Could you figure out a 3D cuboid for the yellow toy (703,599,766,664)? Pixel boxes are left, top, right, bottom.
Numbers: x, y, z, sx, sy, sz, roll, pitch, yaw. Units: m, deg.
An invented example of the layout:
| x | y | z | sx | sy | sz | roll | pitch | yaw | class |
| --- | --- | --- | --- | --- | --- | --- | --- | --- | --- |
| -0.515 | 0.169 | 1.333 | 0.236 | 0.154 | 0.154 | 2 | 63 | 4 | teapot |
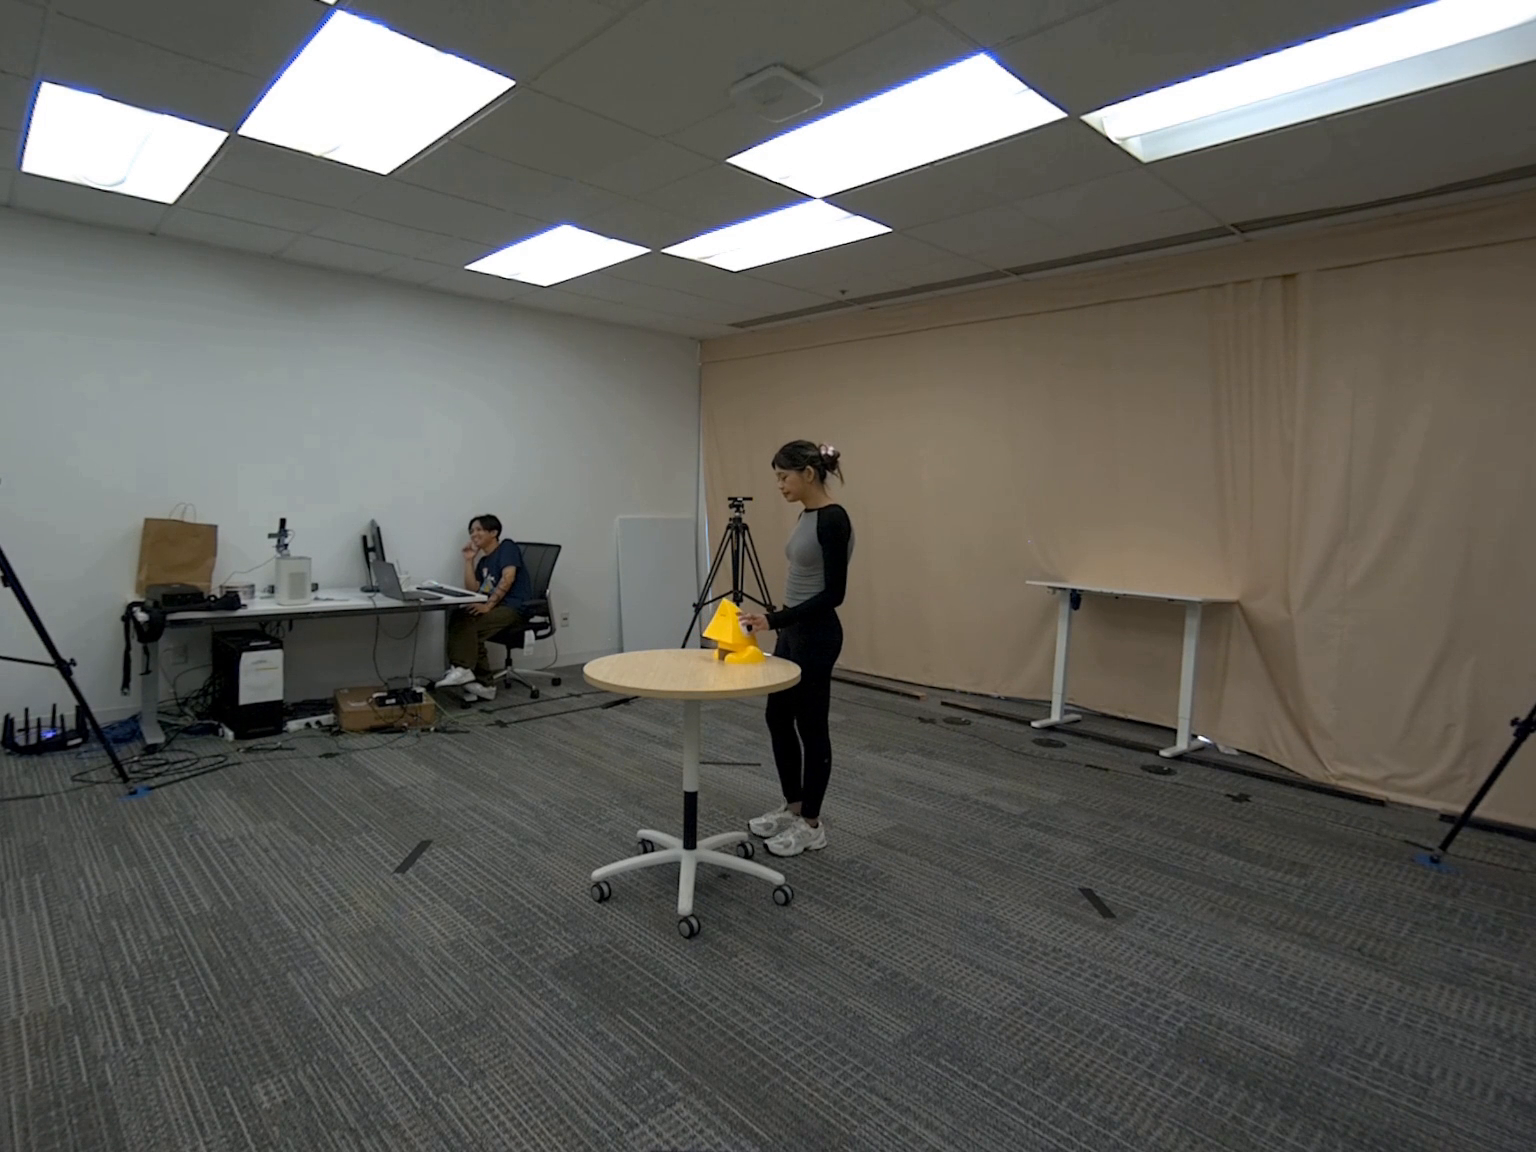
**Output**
| x | y | z | sx | sy | sz | roll | pitch | yaw | class |
| --- | --- | --- | --- | --- | --- | --- | --- | --- | --- |
| -0.126 | 0.199 | 3.156 | 0.189 | 0.230 | 0.209 | -1 | 4 | -32 | yellow toy |
